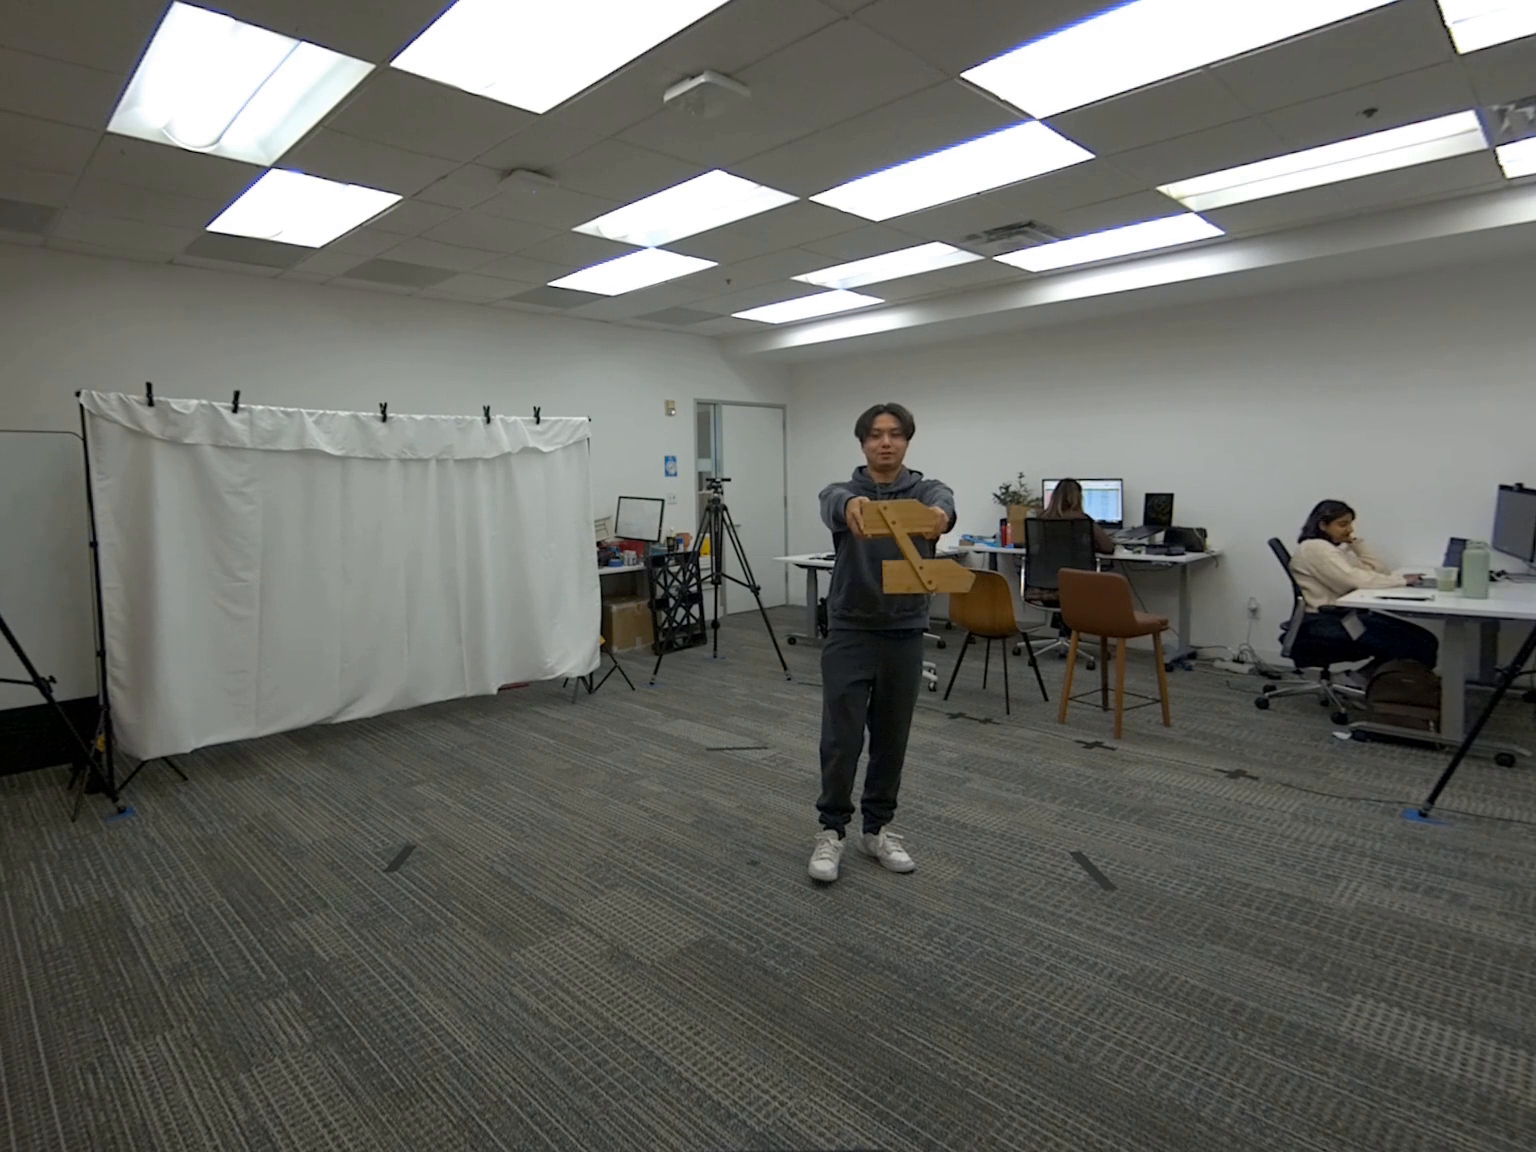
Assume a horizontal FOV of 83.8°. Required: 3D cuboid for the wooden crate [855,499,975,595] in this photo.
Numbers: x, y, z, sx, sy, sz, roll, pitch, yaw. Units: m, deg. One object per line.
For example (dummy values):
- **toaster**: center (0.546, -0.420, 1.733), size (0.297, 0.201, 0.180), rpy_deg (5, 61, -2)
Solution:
- **wooden crate**: center (0.435, -0.087, 2.513), size (0.305, 0.273, 0.320), rpy_deg (-2, 0, 11)
